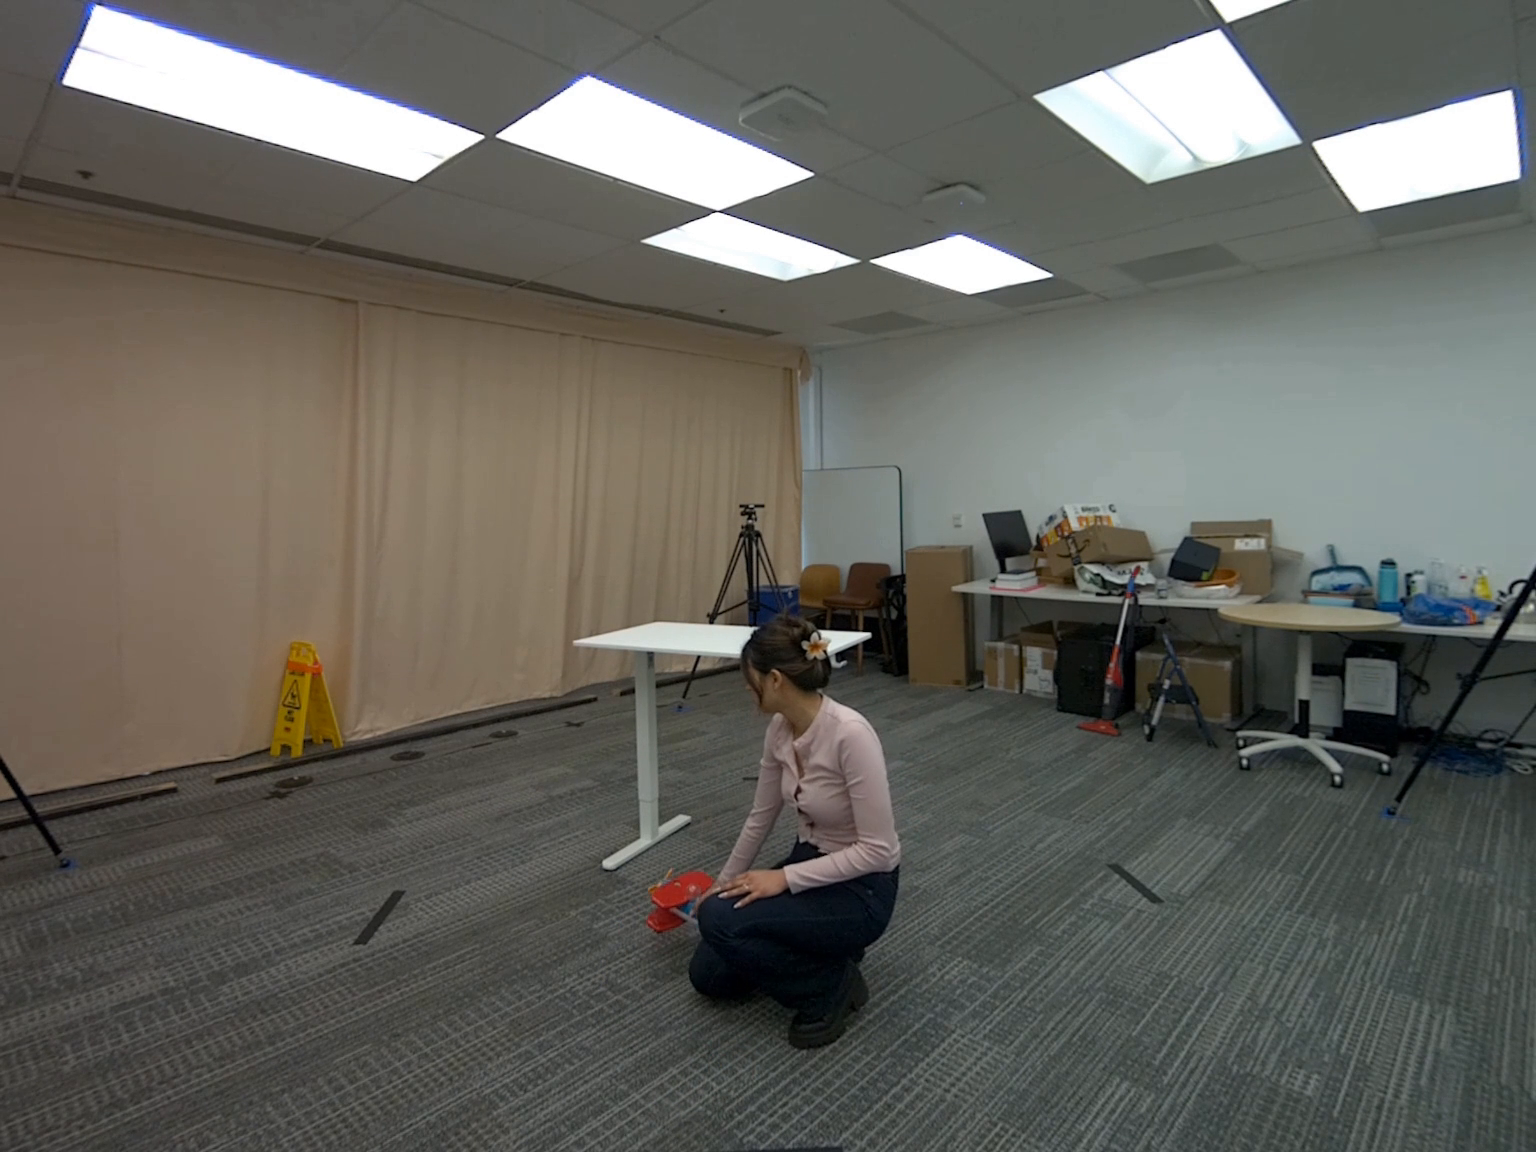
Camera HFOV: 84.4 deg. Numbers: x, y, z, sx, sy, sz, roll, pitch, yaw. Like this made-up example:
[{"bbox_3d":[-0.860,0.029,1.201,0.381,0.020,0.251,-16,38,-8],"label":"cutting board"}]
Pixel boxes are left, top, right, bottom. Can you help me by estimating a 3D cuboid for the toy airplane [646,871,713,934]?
[{"bbox_3d":[-0.236,1.038,2.618,0.261,0.156,0.250,-1,3,5],"label":"toy airplane"}]
